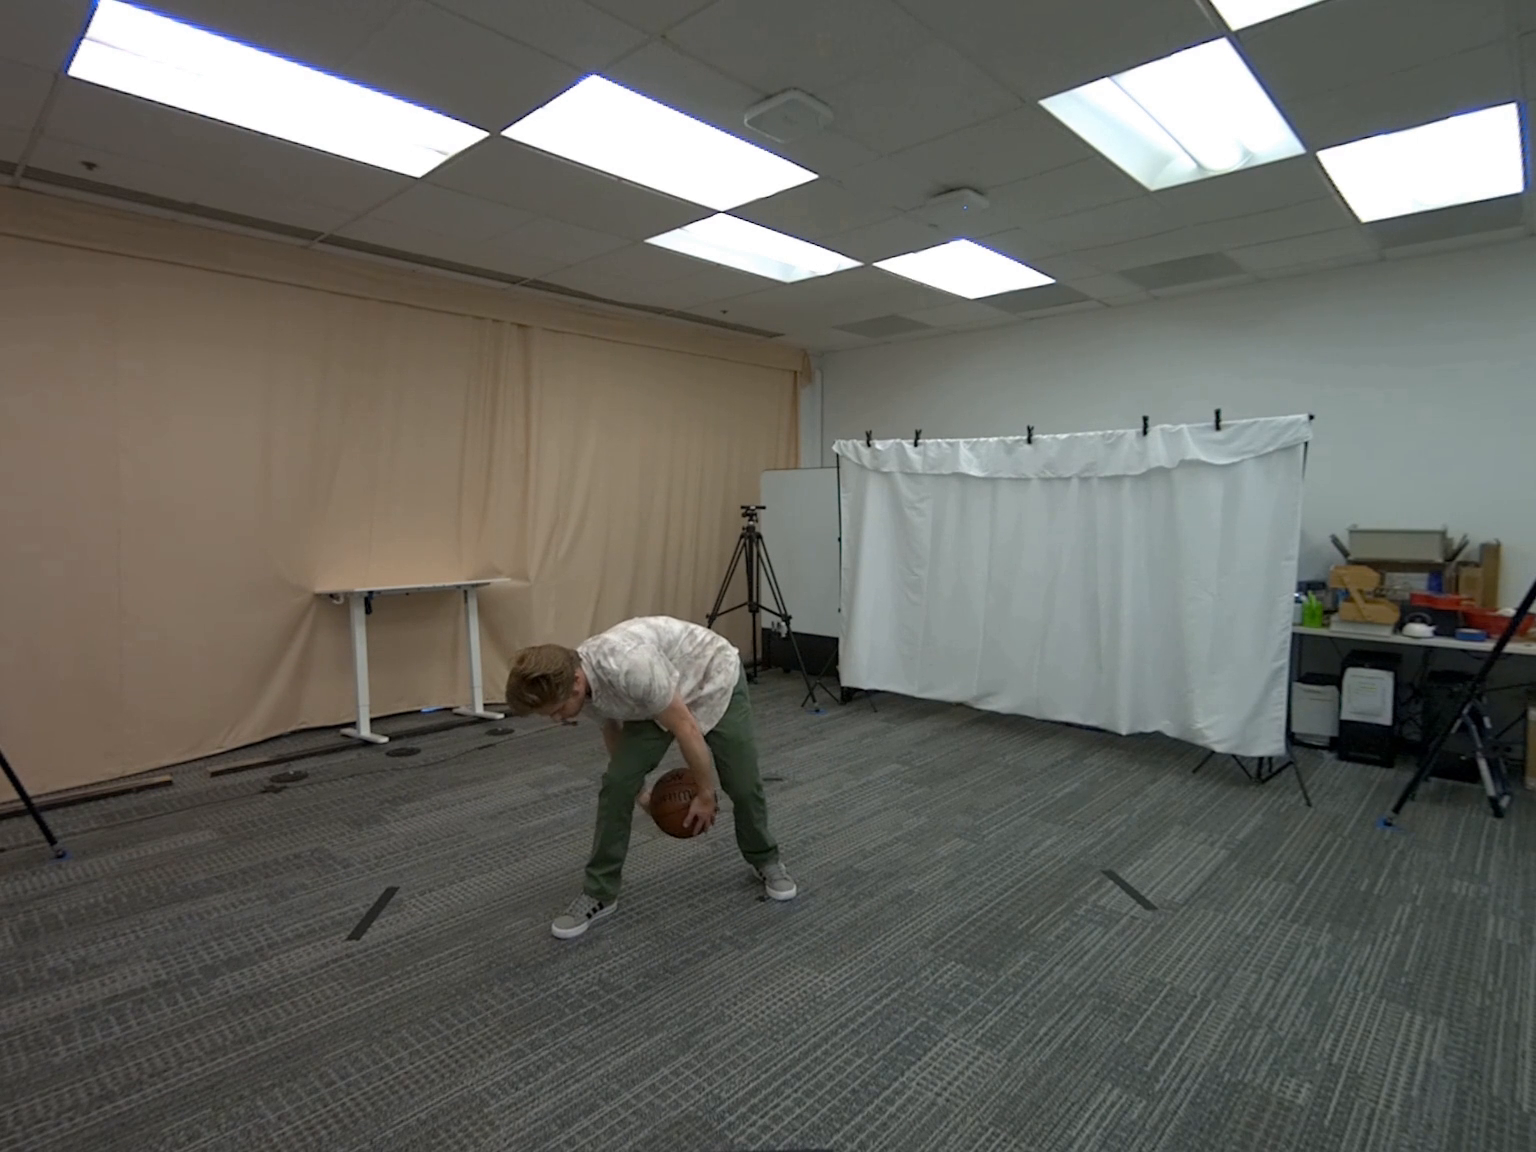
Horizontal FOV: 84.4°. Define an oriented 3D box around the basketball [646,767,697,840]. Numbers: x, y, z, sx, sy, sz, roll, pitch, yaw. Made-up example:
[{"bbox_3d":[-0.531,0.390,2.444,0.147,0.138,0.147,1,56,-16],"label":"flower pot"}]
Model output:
[{"bbox_3d":[-0.306,0.778,2.958,0.236,0.235,0.237,0,4,-2],"label":"basketball"}]
